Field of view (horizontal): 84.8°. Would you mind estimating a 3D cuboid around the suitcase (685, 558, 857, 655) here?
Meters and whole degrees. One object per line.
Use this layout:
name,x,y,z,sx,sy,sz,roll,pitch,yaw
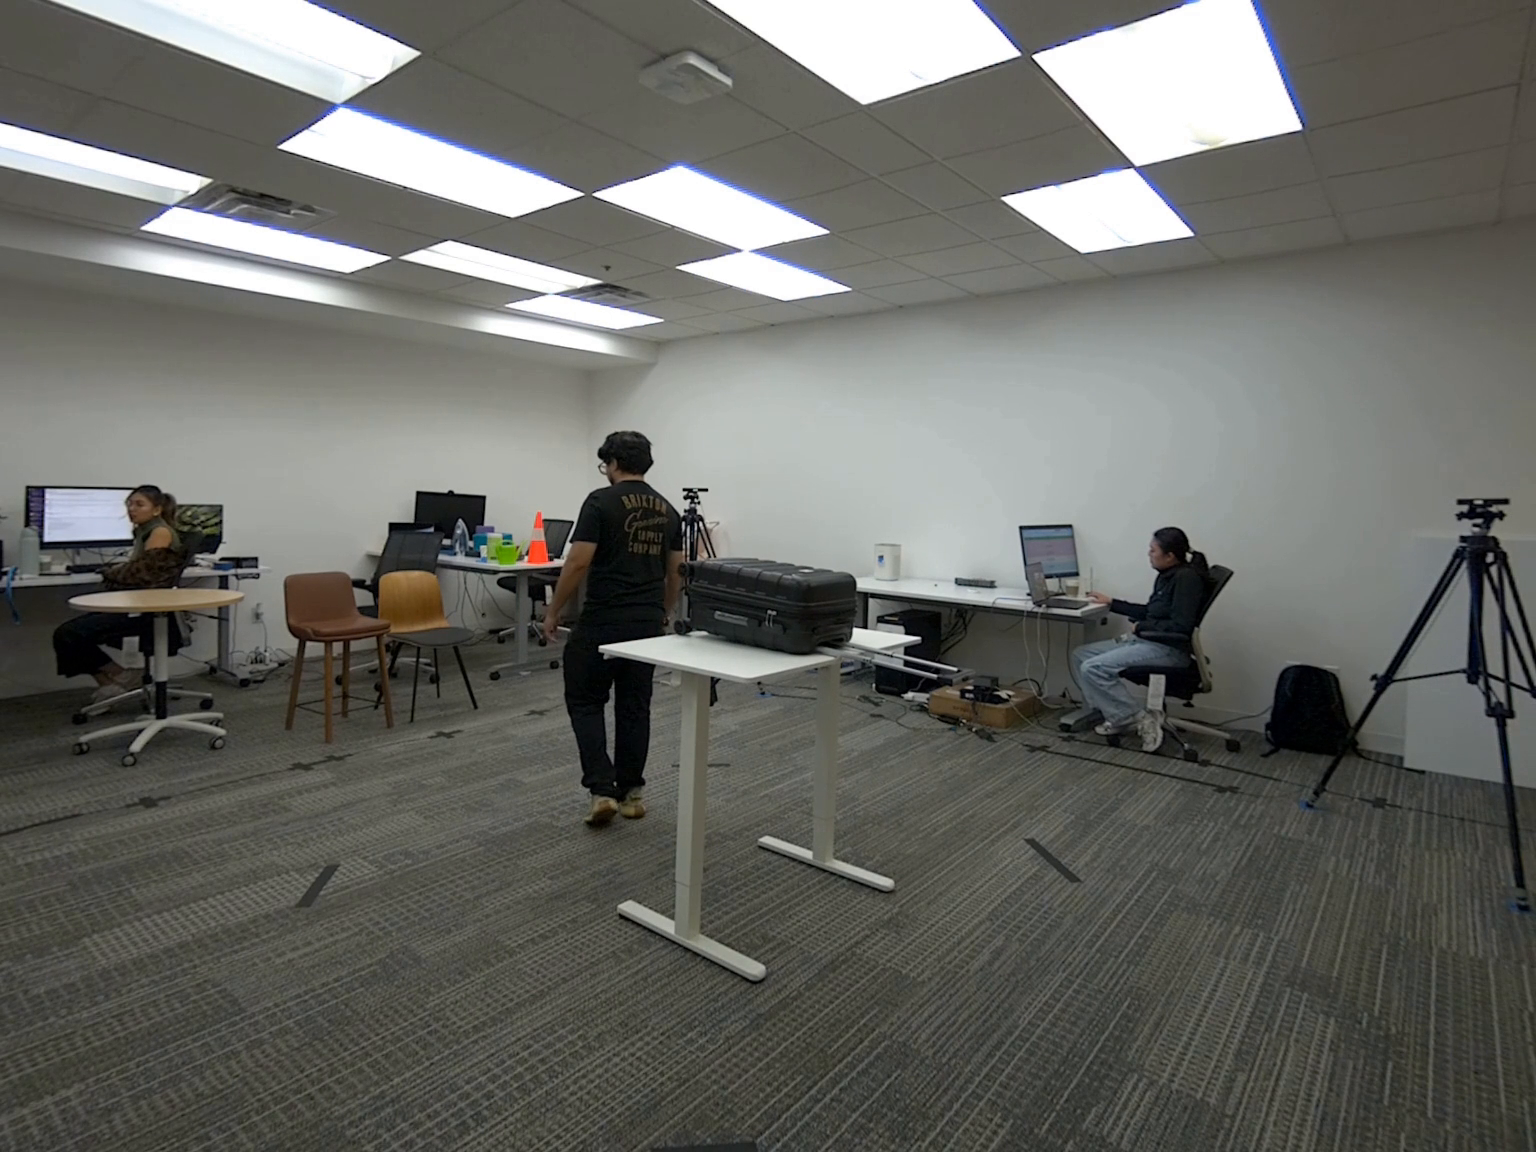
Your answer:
suitcase,0.154,0.114,2.725,1.013,0.256,0.372,7,6,39
